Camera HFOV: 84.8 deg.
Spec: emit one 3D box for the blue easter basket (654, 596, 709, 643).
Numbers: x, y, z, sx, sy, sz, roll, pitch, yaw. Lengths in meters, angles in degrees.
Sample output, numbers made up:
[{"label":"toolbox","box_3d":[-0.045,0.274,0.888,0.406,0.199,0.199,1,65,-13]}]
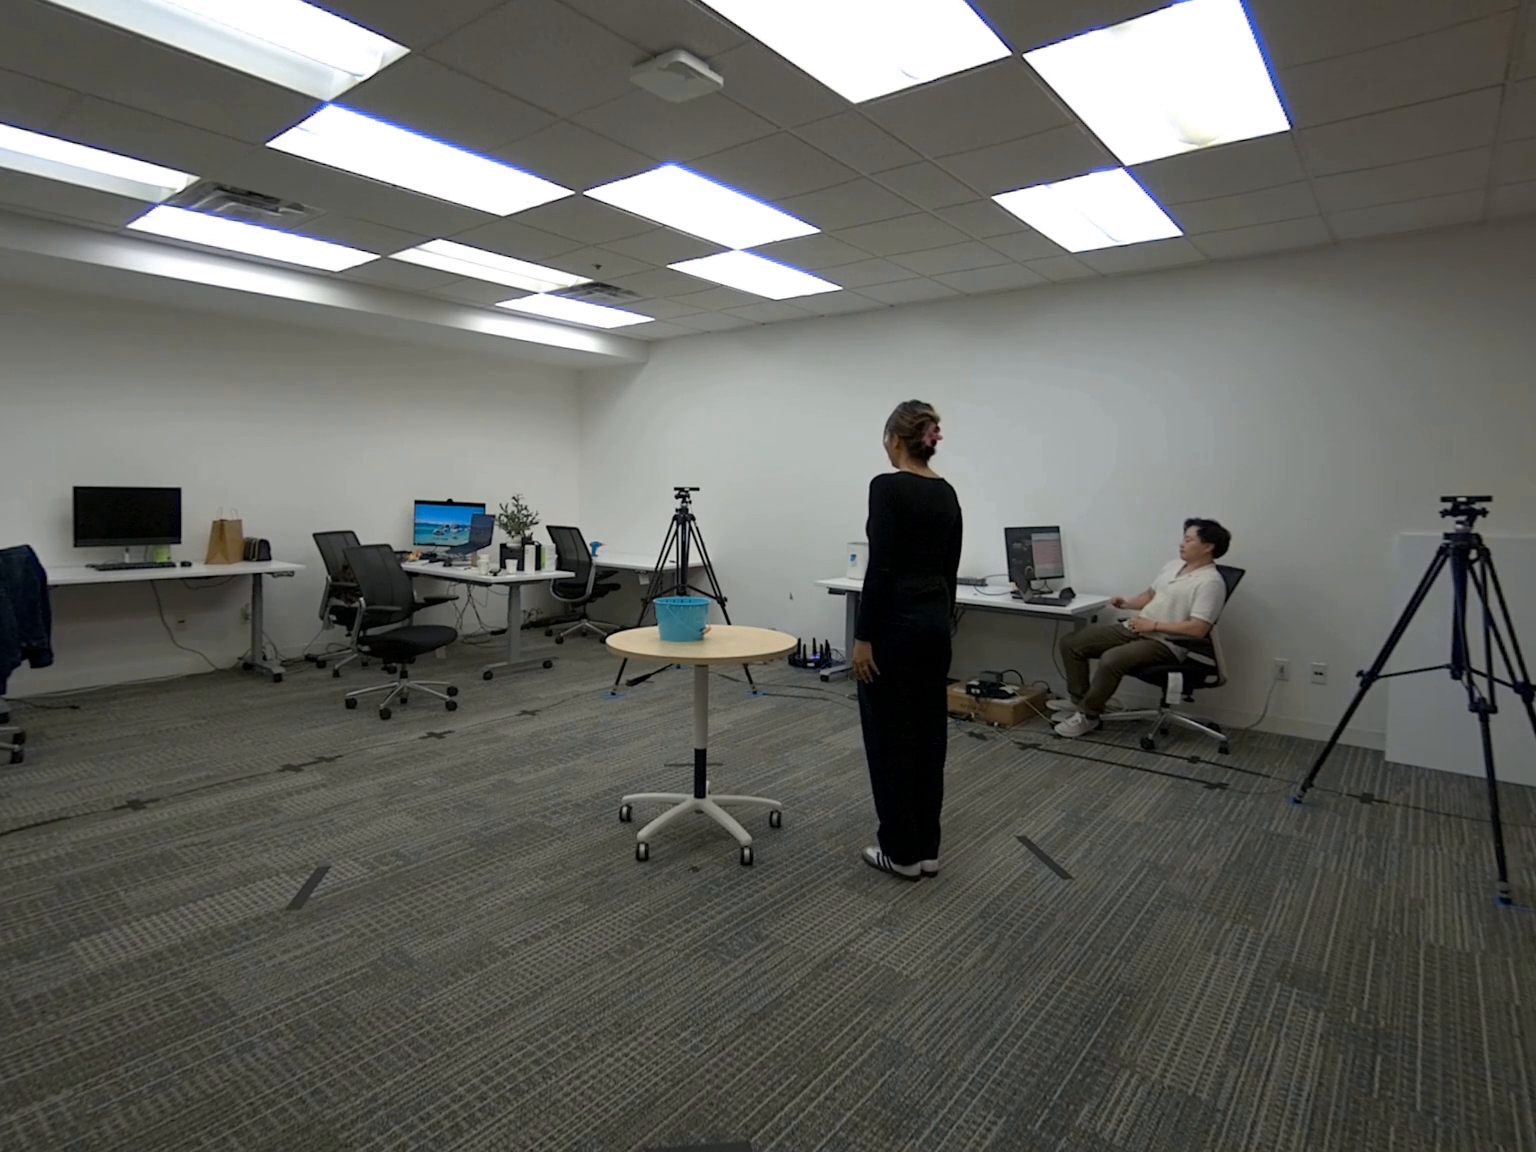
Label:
[{"label":"blue easter basket","box_3d":[-0.355,0.177,3.442,0.243,0.155,0.244,0,4,-2]}]
